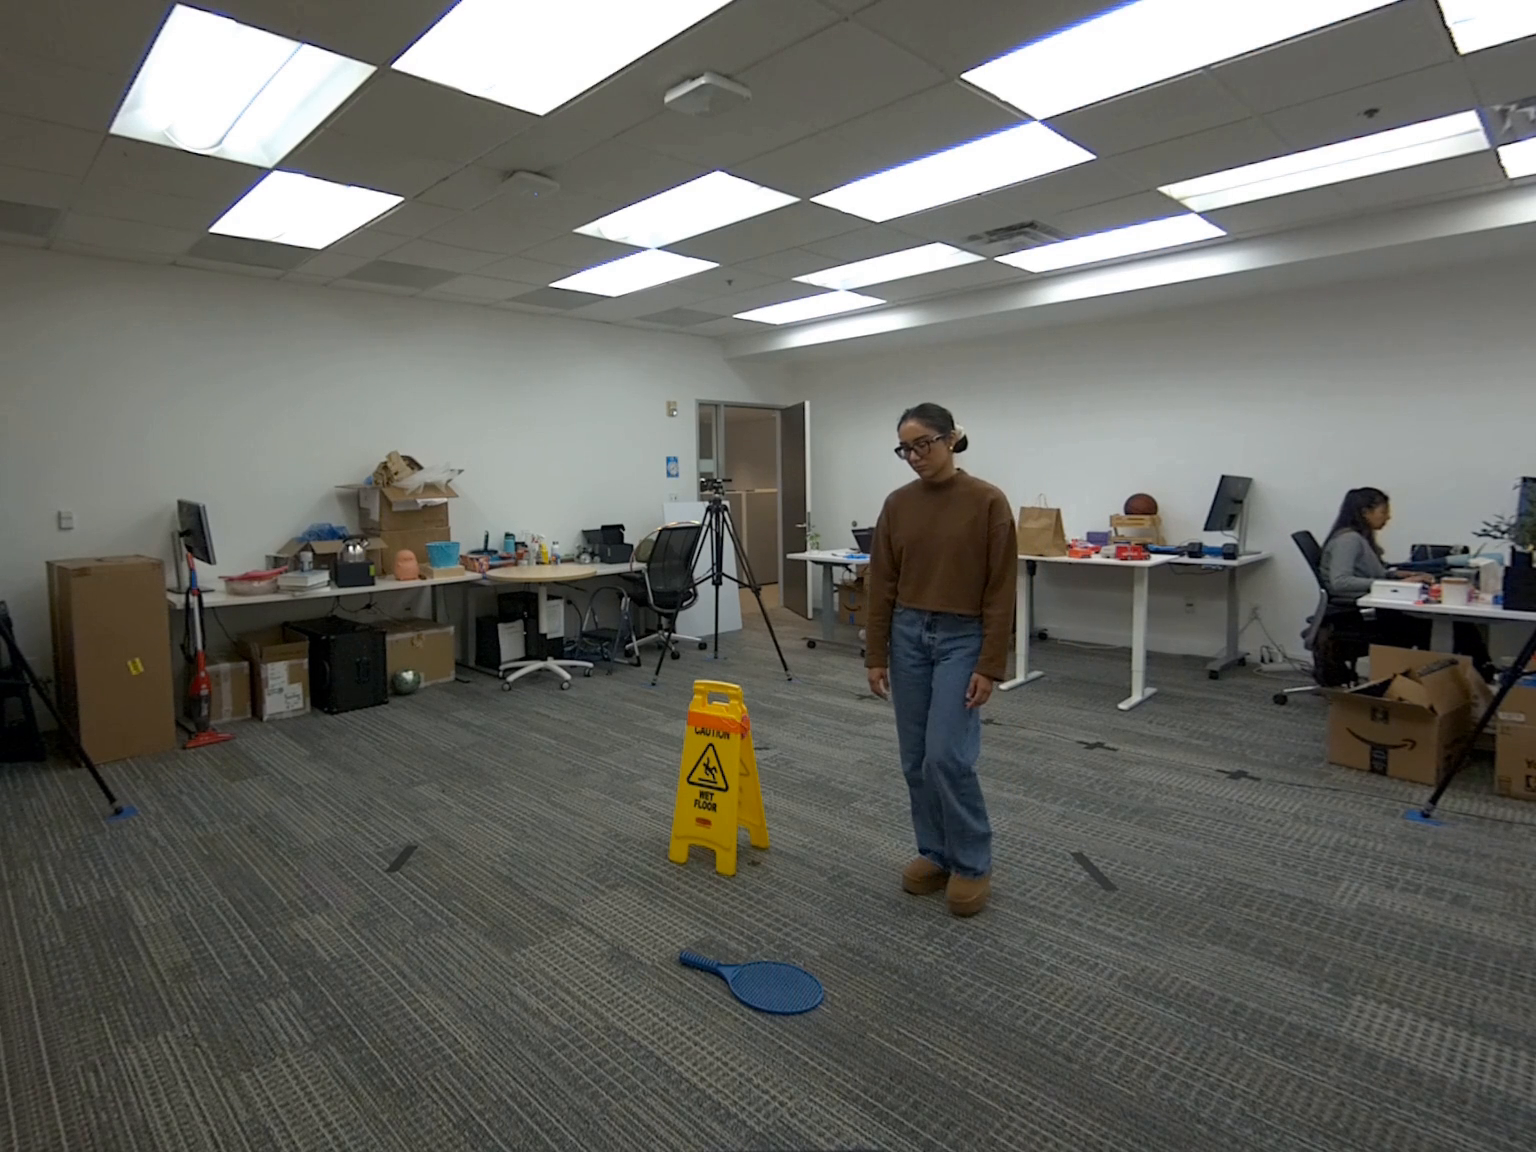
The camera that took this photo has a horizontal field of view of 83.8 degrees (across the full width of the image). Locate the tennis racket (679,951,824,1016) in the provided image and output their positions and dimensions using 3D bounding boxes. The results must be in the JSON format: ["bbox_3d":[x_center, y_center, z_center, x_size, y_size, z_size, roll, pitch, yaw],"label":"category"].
[{"bbox_3d":[-0.047,1.117,2.383,0.444,0.031,0.209,4,7,30],"label":"tennis racket"}]
